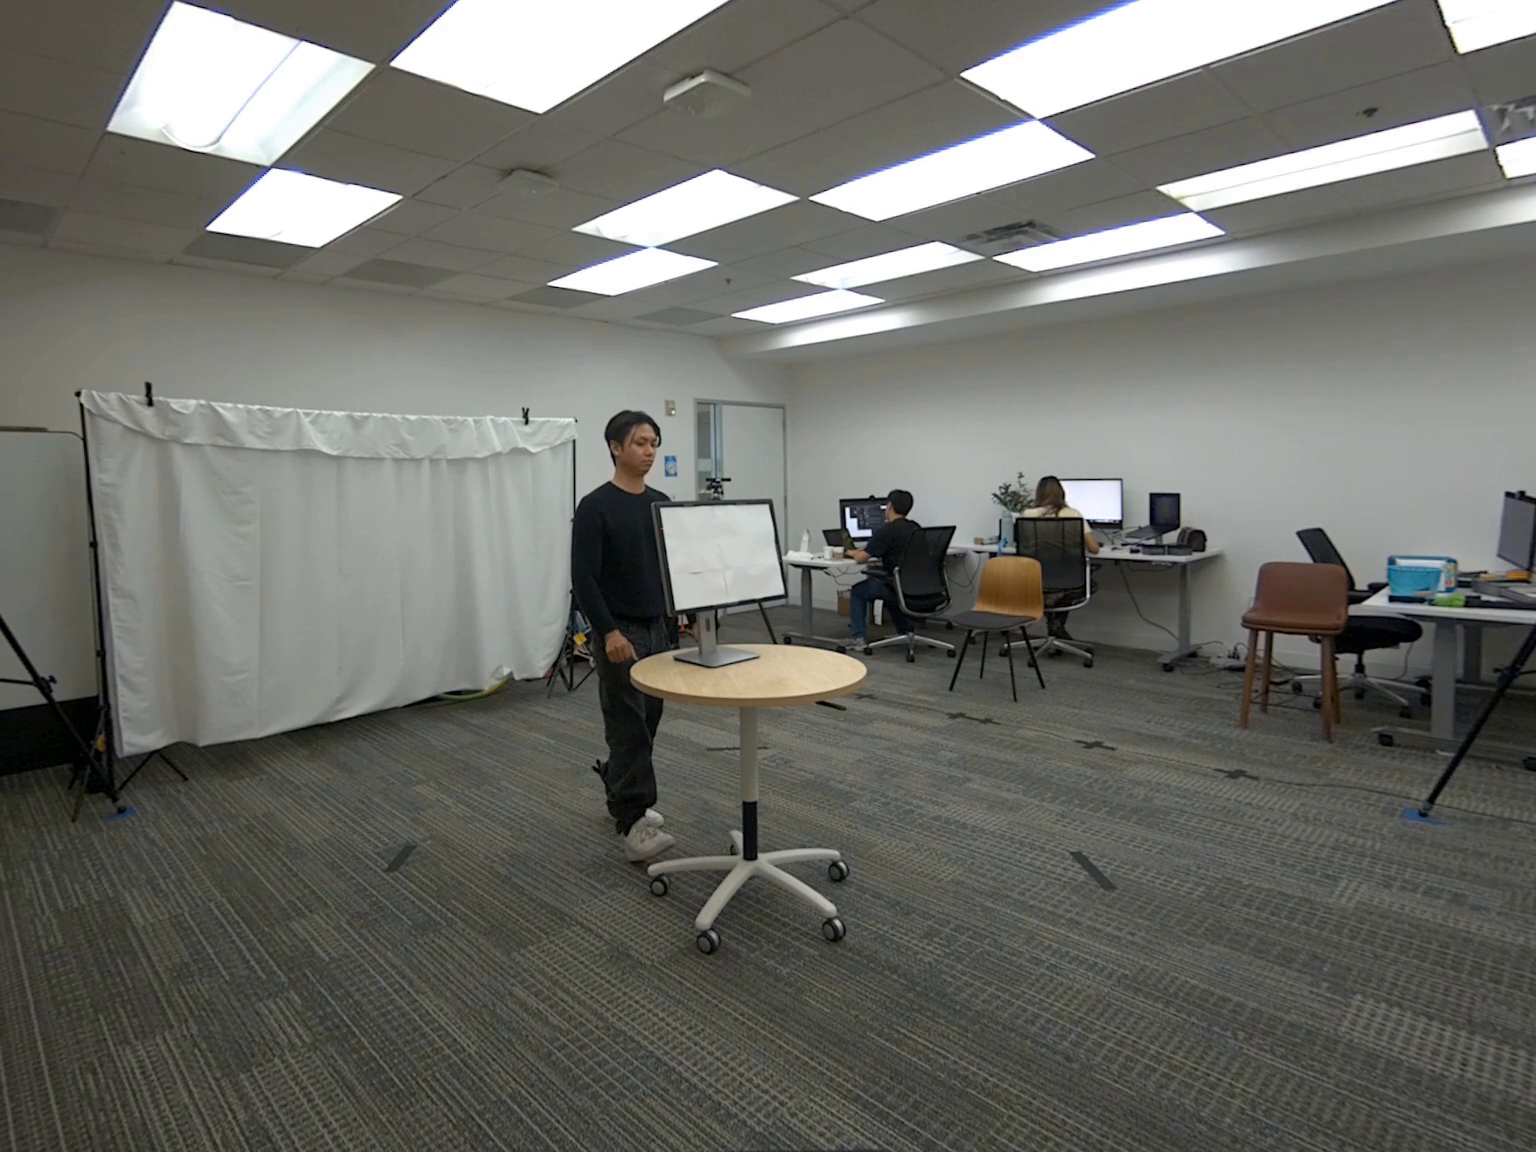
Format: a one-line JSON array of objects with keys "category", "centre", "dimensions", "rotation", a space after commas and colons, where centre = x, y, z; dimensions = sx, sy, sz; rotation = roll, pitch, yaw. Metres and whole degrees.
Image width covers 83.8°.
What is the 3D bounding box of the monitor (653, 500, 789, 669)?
[{"category": "monitor", "centre": [-0.174, 0.015, 2.916], "dimensions": [0.193, 0.520, 0.525], "rotation": [4, 7, 40]}]
